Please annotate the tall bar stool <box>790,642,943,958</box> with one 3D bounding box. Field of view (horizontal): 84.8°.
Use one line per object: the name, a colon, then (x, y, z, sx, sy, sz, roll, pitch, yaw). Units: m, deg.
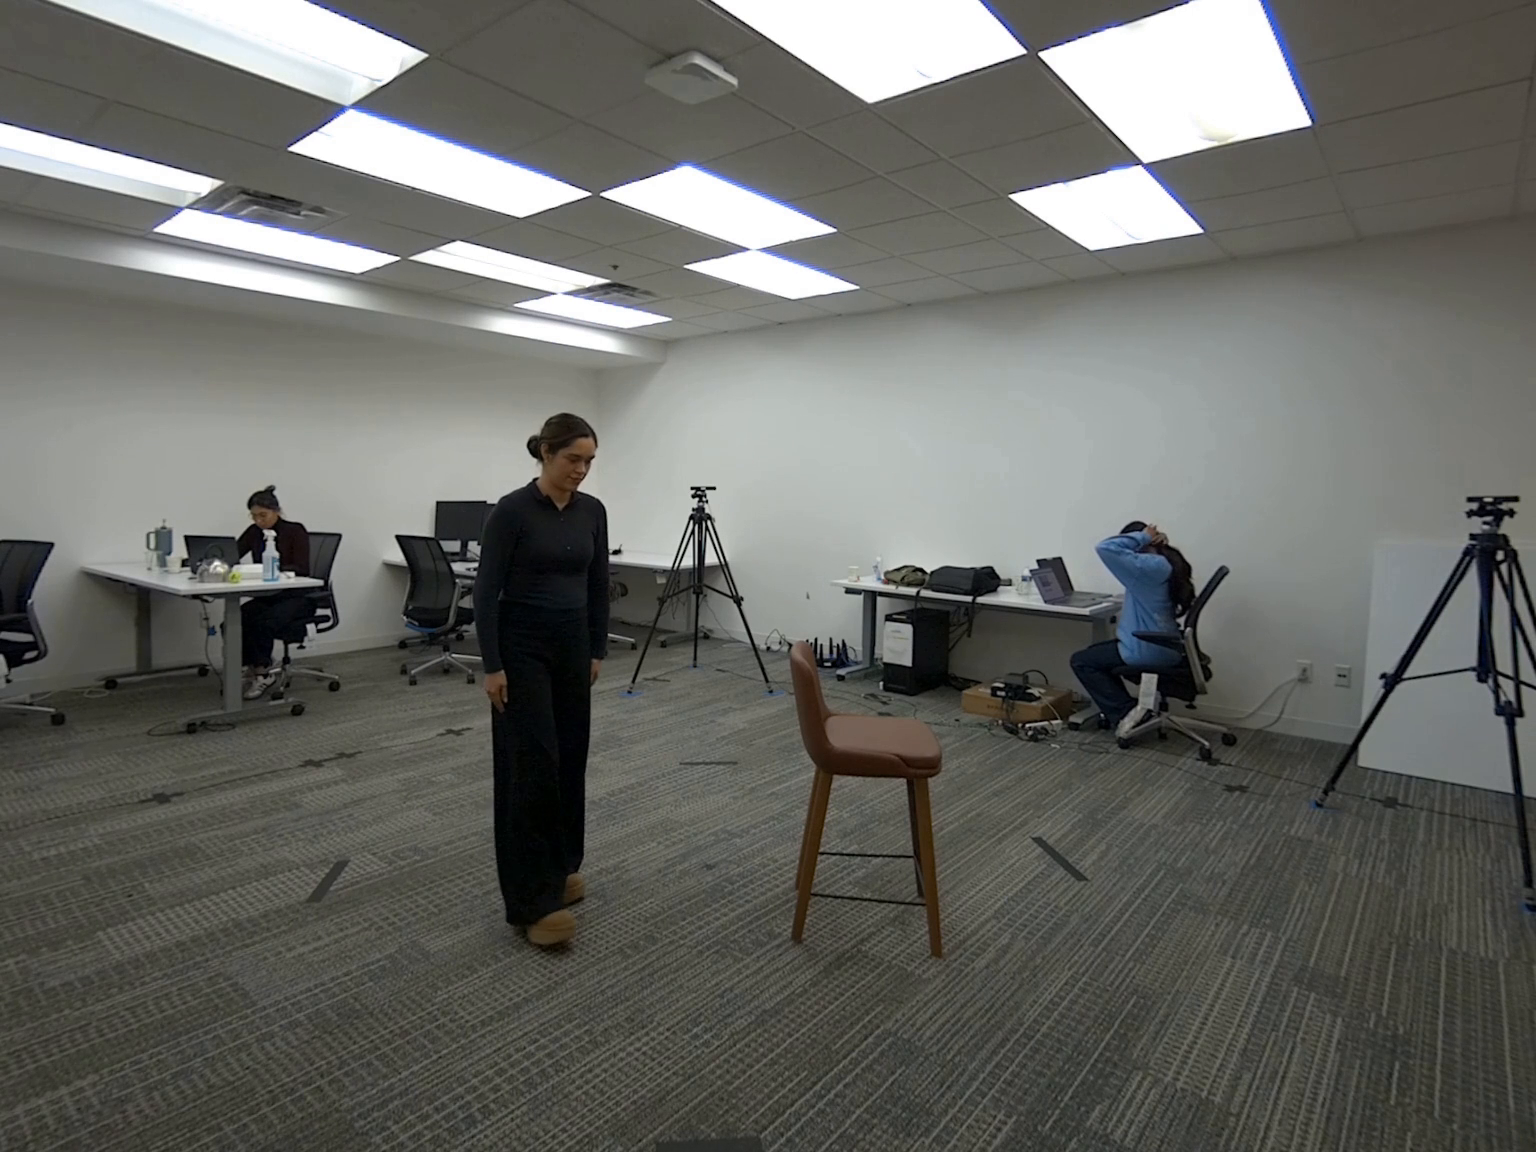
tall bar stool: (0.306, 0.678, 2.742, 0.471, 0.887, 0.454, 0, 3, 6)
